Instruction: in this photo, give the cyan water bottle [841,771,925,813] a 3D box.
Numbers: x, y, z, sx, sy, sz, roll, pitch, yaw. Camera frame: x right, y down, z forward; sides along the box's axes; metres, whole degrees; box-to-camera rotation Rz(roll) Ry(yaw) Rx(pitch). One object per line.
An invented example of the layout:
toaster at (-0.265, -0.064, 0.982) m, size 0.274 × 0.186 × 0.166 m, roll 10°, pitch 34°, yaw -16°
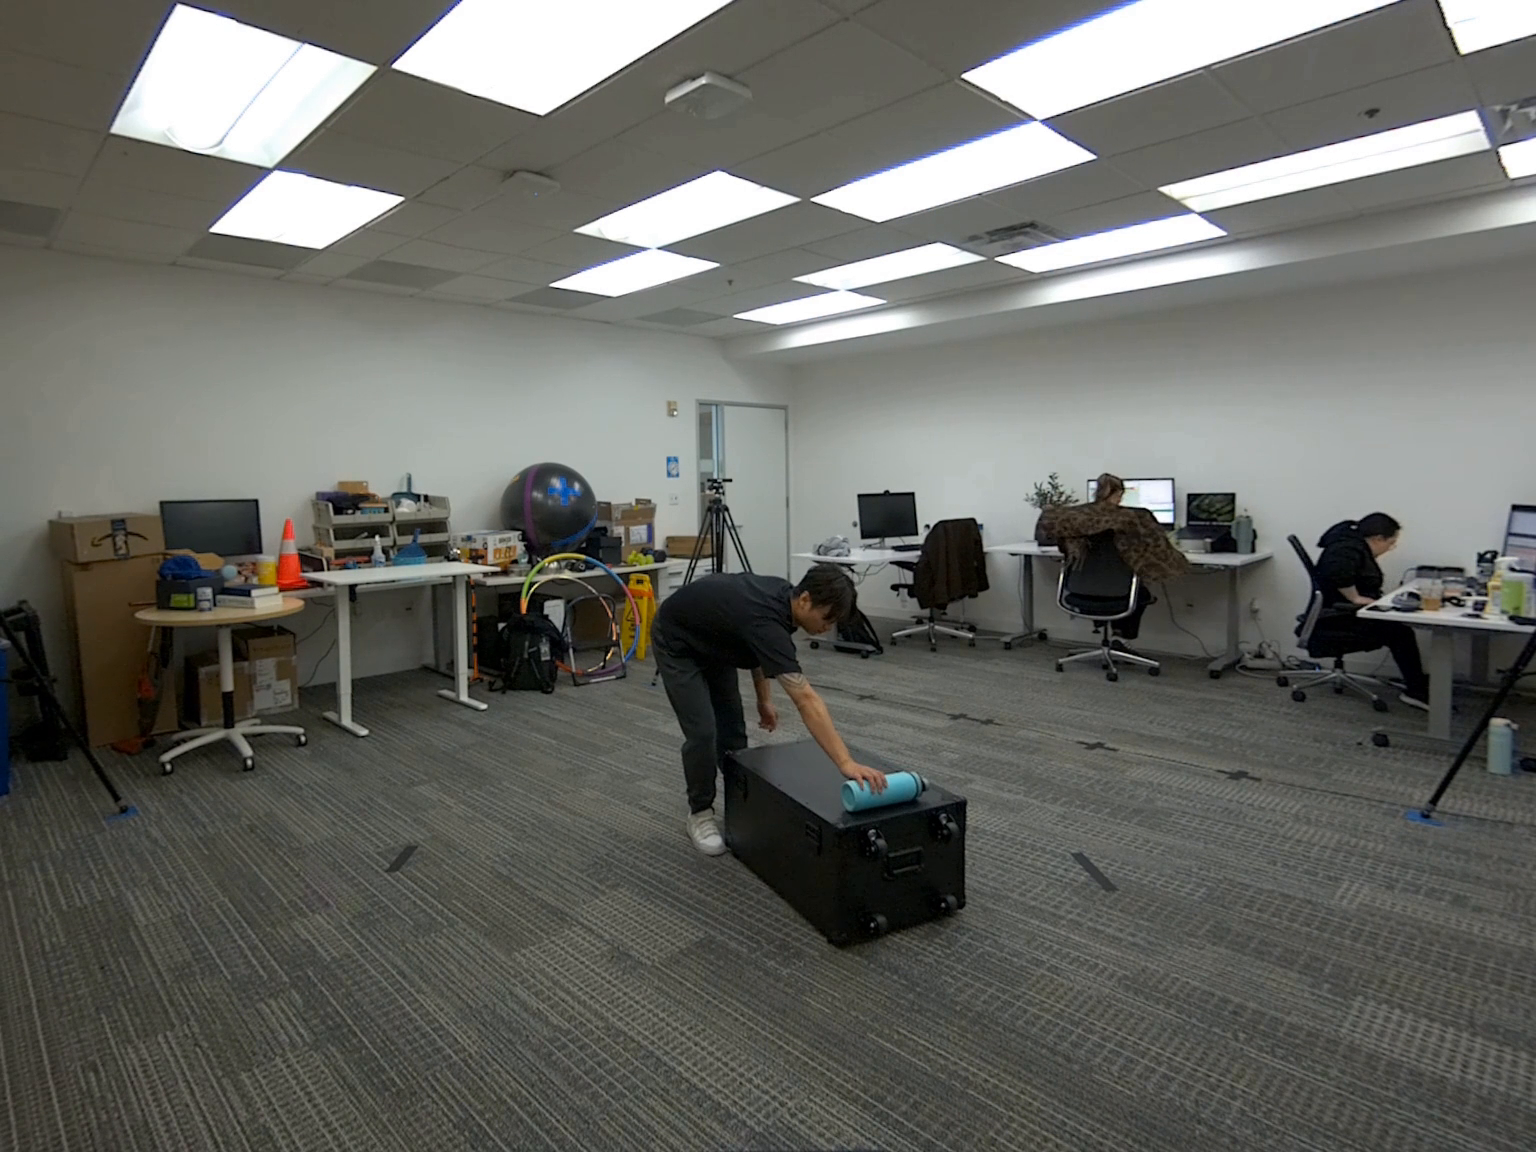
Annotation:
cyan water bottle at (0.370, 0.663, 2.686) m, size 0.278 × 0.092 × 0.094 m, roll -6°, pitch 6°, yaw -24°
